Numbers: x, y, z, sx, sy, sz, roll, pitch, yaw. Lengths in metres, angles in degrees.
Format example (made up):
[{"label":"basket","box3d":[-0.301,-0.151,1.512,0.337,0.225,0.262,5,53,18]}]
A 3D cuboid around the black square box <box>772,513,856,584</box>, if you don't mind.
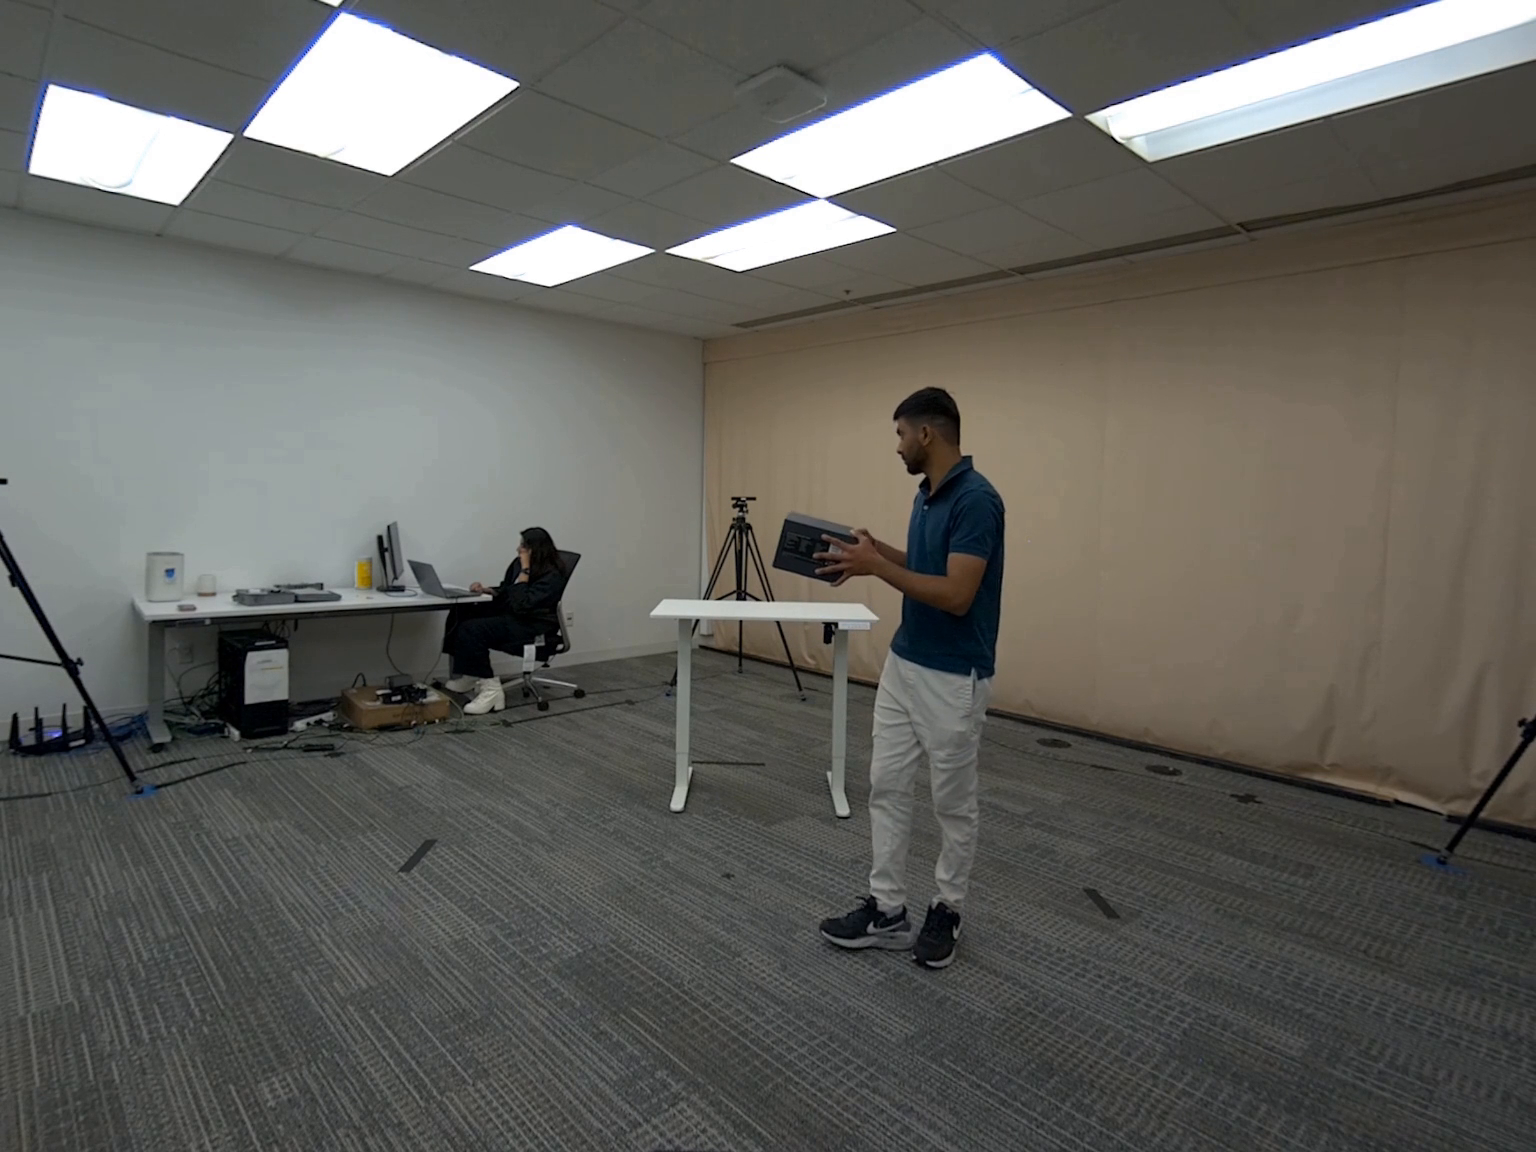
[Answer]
[{"label":"black square box","box3d":[0.140,-0.099,2.629,0.219,0.155,0.227,11,8,8]}]
